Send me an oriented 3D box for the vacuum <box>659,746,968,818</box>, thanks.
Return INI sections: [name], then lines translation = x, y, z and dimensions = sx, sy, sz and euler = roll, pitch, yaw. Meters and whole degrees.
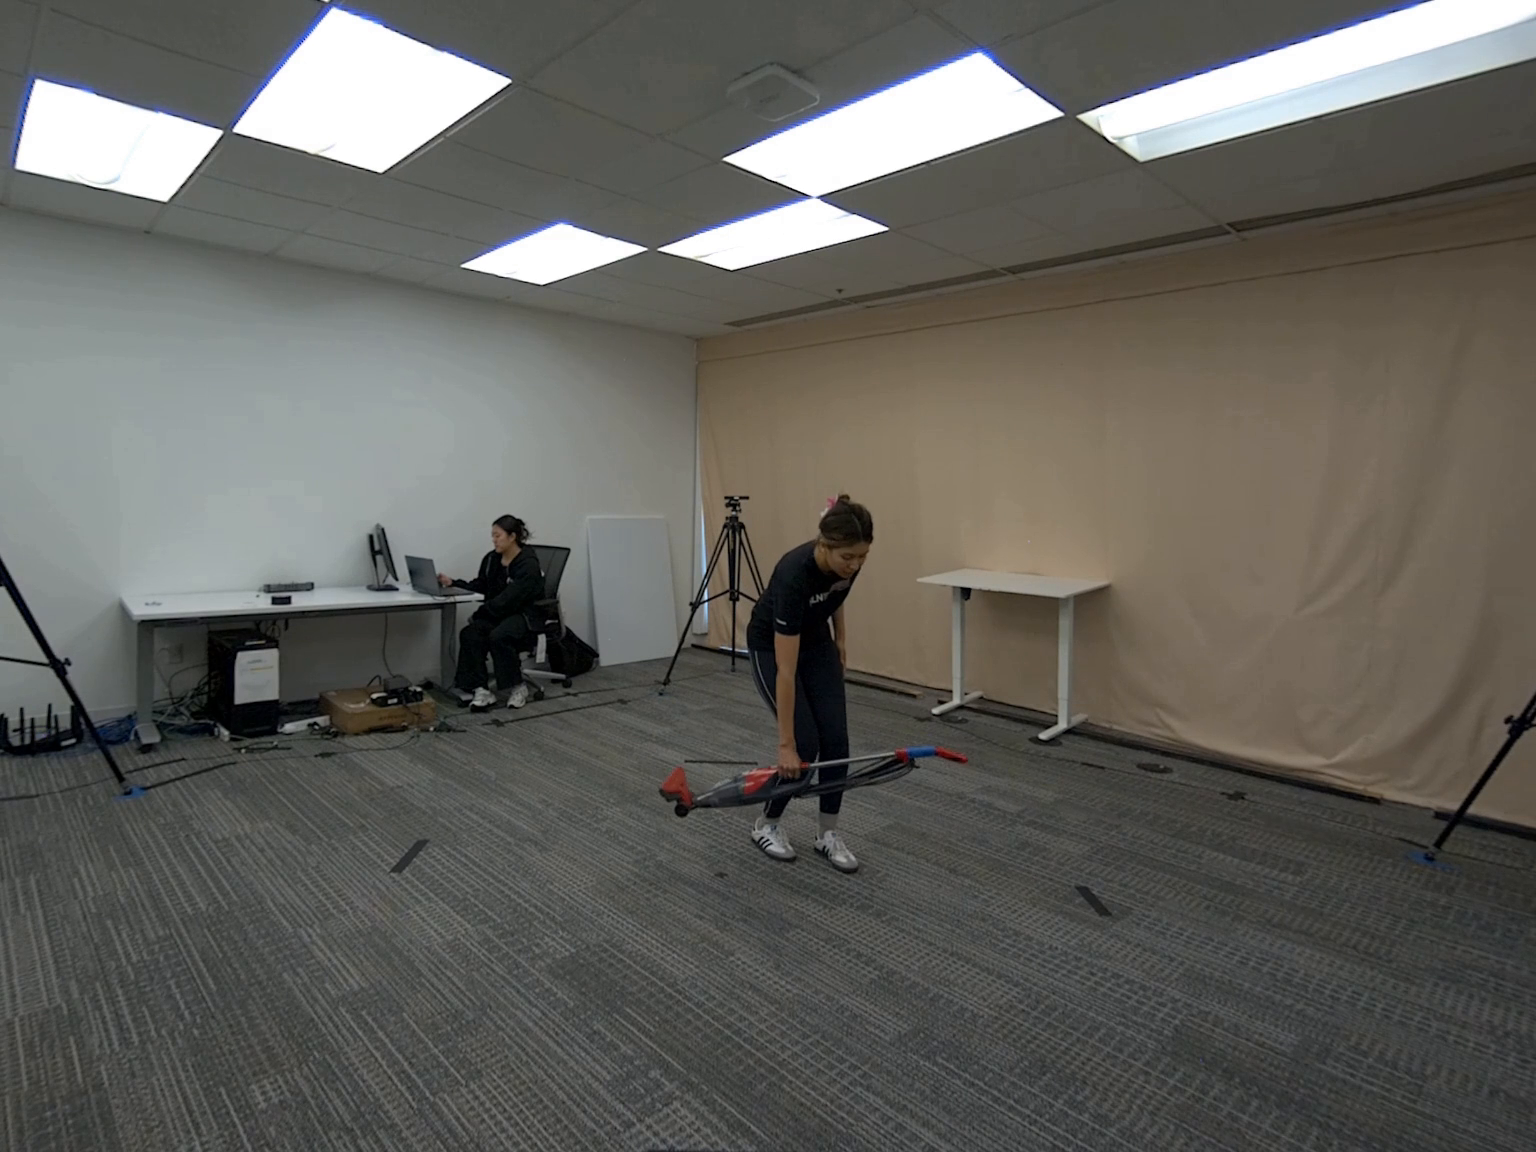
[vacuum]
translation = 0.167, 0.722, 2.980
dimensions = 1.057, 0.143, 0.251
euler = -10, 4, 11
